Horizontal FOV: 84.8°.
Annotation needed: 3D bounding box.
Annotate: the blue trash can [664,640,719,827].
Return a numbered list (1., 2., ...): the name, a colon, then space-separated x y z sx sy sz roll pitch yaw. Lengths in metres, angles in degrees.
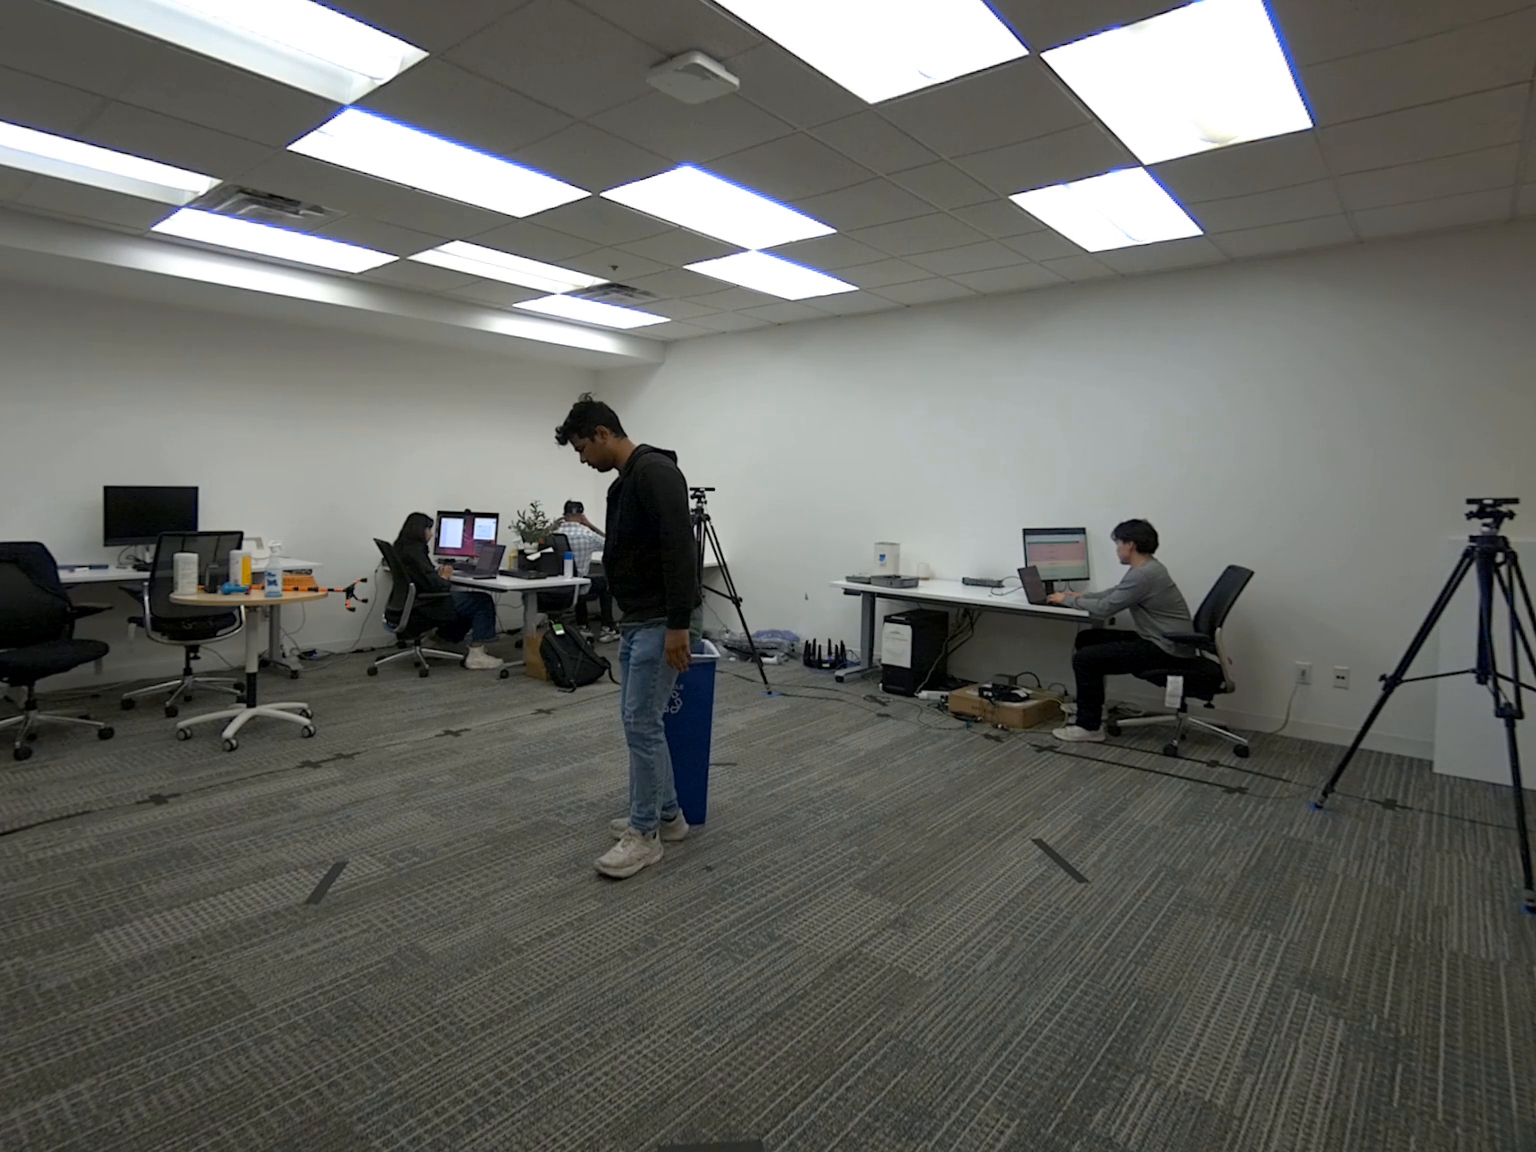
1. blue trash can: -0.423 0.651 3.622 0.374 0.712 0.379 1 3 -11
